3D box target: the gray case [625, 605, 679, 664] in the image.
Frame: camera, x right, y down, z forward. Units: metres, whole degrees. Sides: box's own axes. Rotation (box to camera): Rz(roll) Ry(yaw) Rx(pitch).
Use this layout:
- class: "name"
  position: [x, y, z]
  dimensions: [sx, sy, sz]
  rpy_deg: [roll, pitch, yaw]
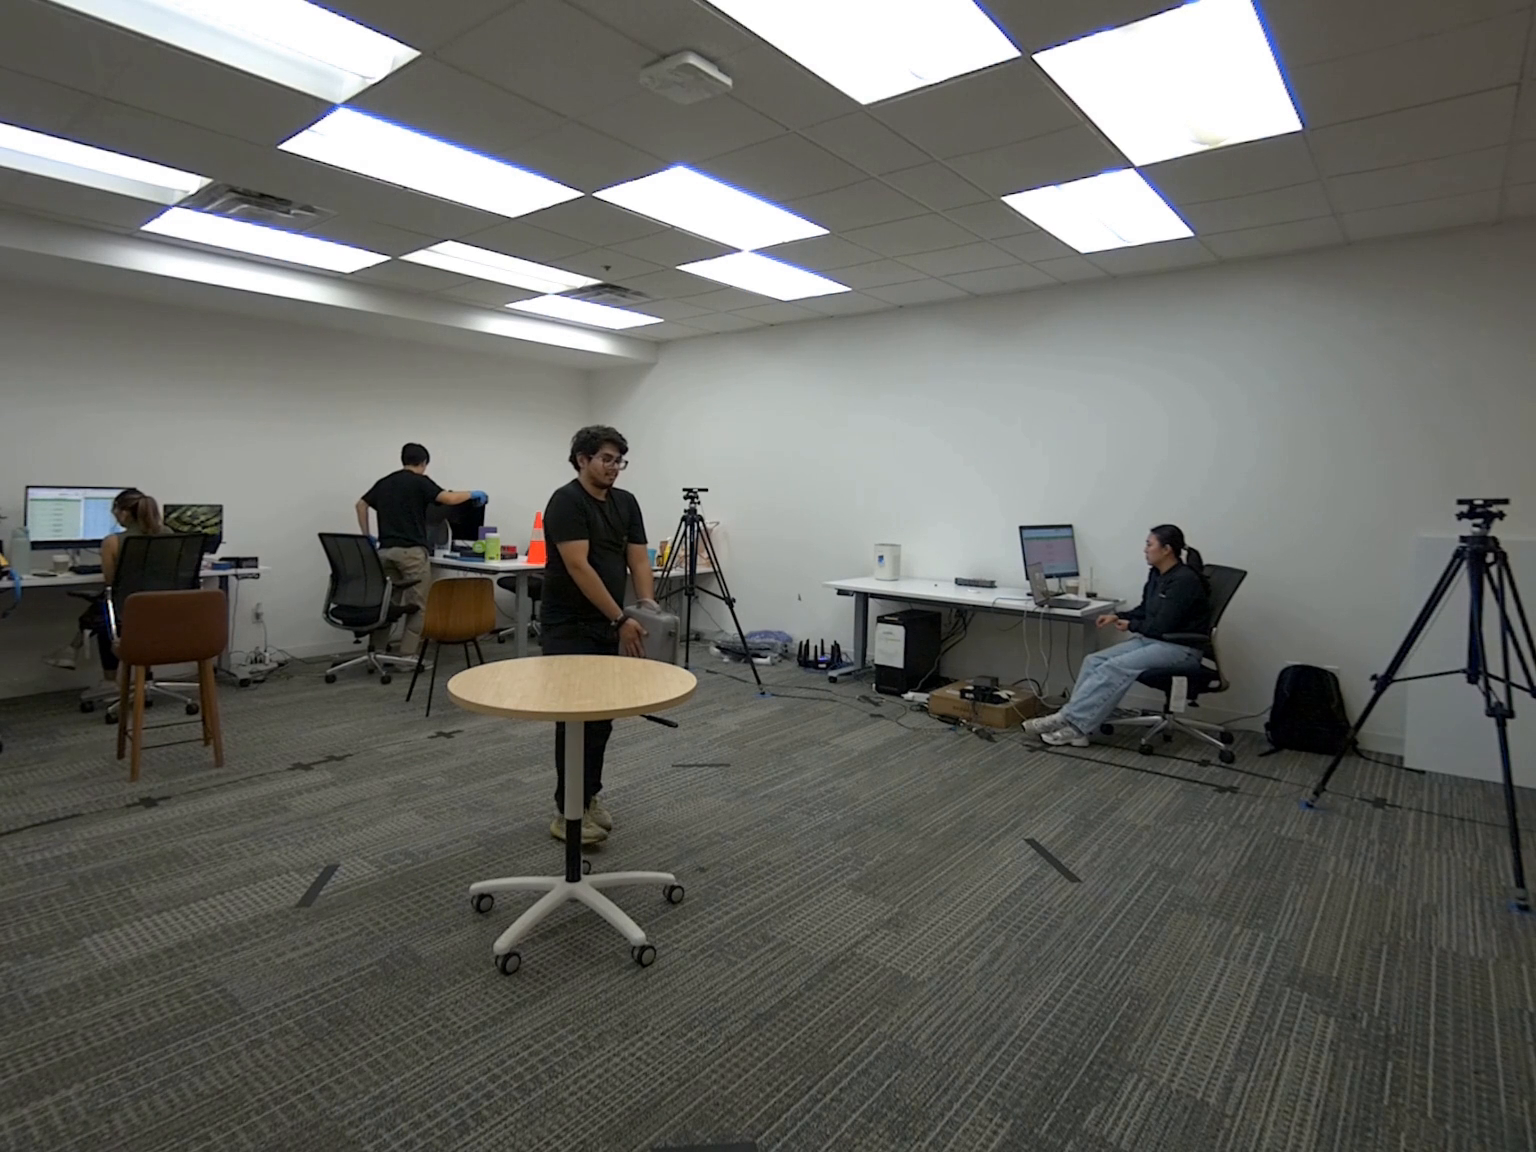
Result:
- class: "gray case"
  position: [-0.471, 0.253, 3.297]
  dimensions: [0.266, 0.259, 0.101]
  rpy_deg: [10, 10, 40]
